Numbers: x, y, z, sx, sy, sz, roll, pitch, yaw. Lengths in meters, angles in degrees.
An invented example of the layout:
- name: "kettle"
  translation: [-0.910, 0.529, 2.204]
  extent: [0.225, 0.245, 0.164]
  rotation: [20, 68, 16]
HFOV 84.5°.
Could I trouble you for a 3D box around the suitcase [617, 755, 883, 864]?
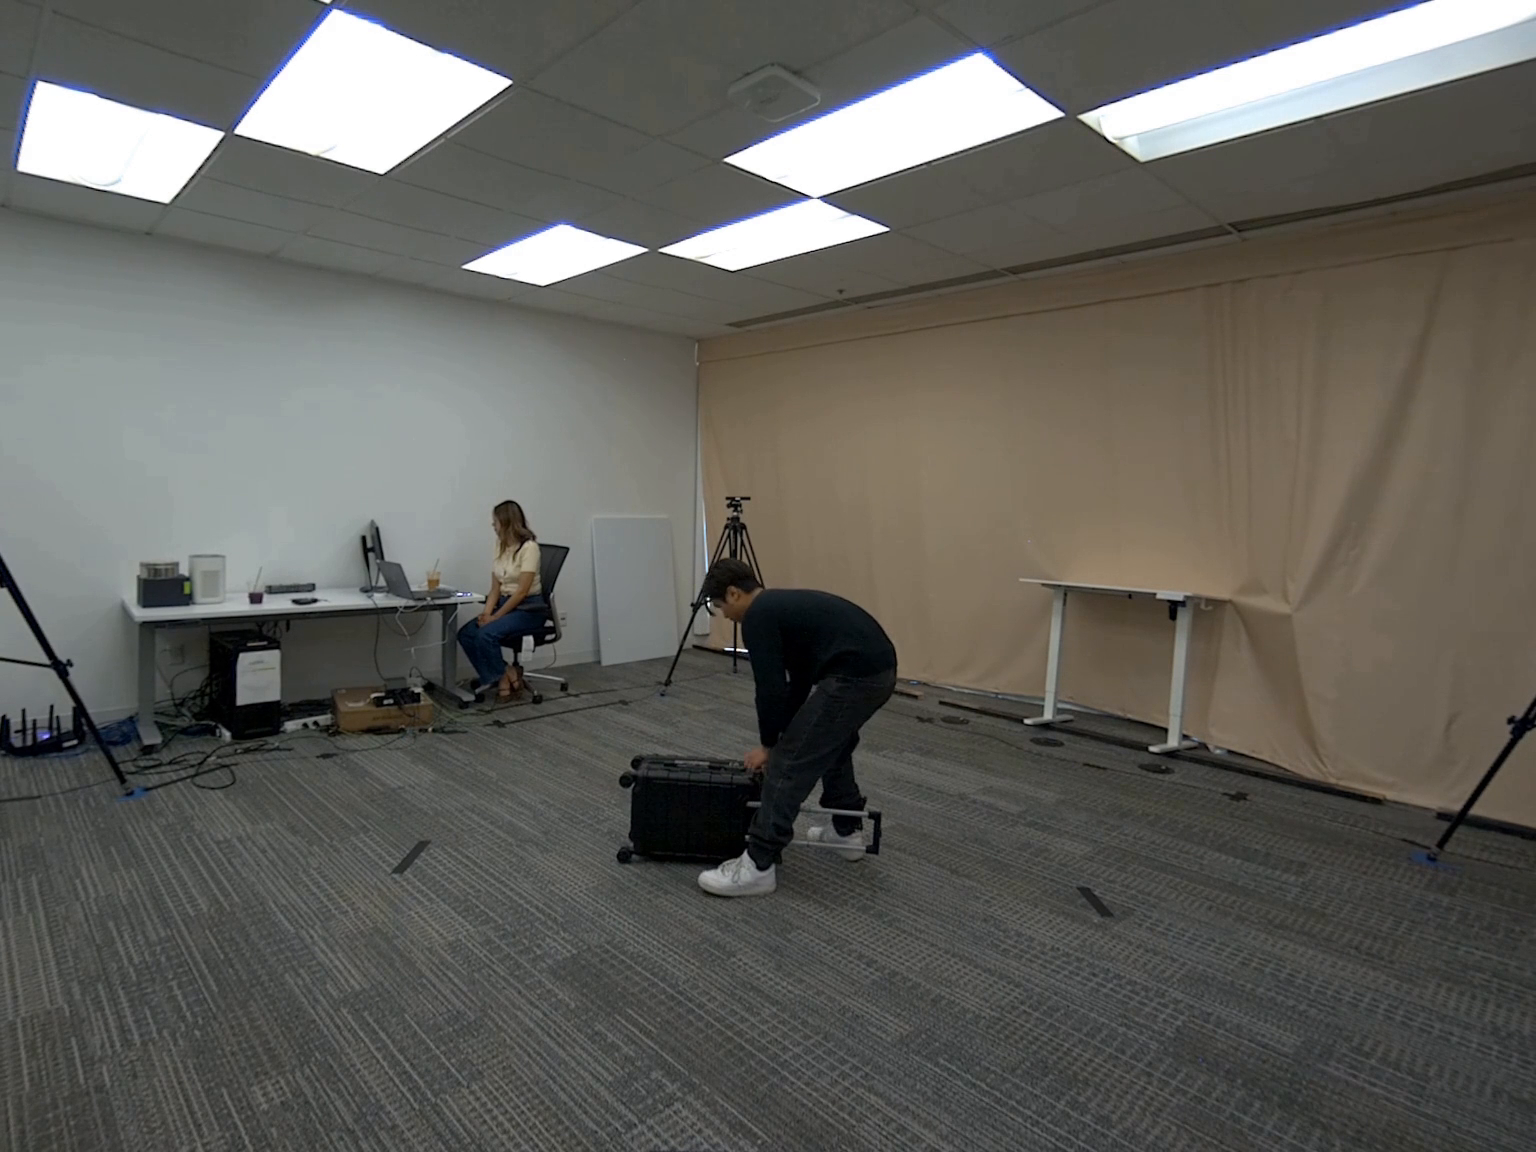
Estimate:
- name: "suitcase"
  translation: [-0.083, 0.906, 3.246]
  extent: [0.982, 0.383, 0.257]
  rotation: [0, 4, 5]
